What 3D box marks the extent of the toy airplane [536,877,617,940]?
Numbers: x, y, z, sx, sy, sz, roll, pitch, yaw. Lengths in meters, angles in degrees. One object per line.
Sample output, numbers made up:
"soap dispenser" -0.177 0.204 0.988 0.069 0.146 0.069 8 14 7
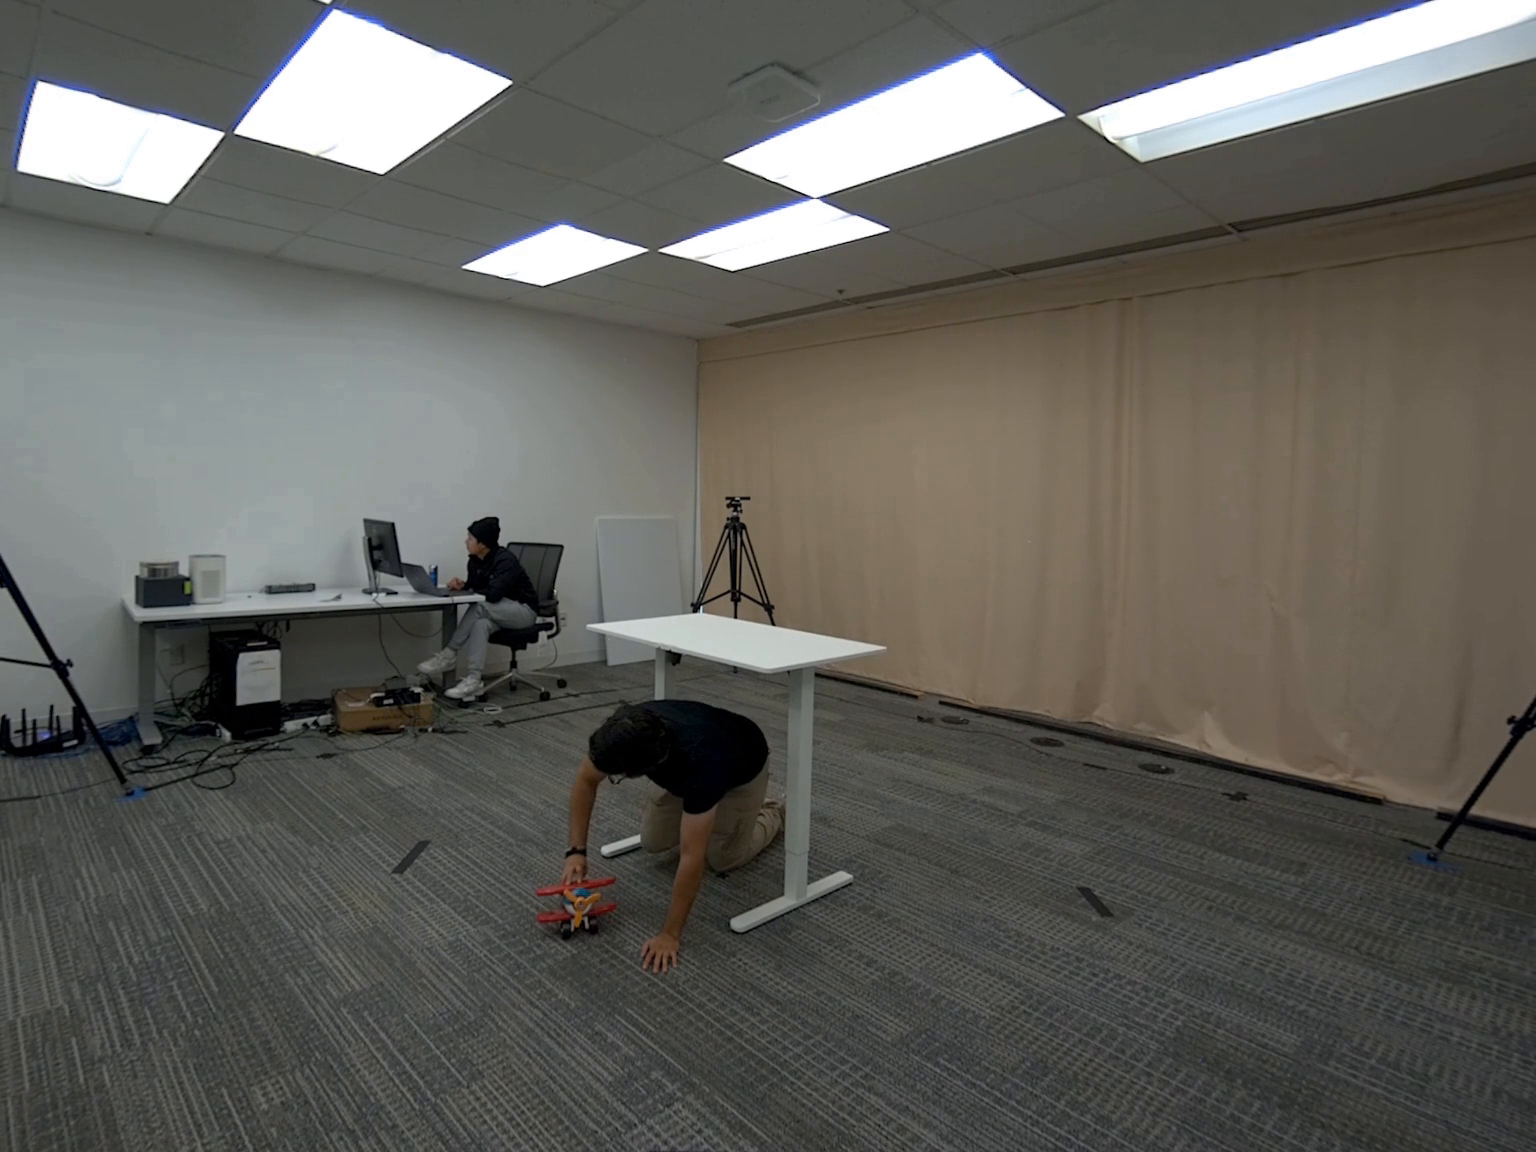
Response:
"toy airplane" -0.652 1.059 2.728 0.266 0.156 0.246 5 9 39
